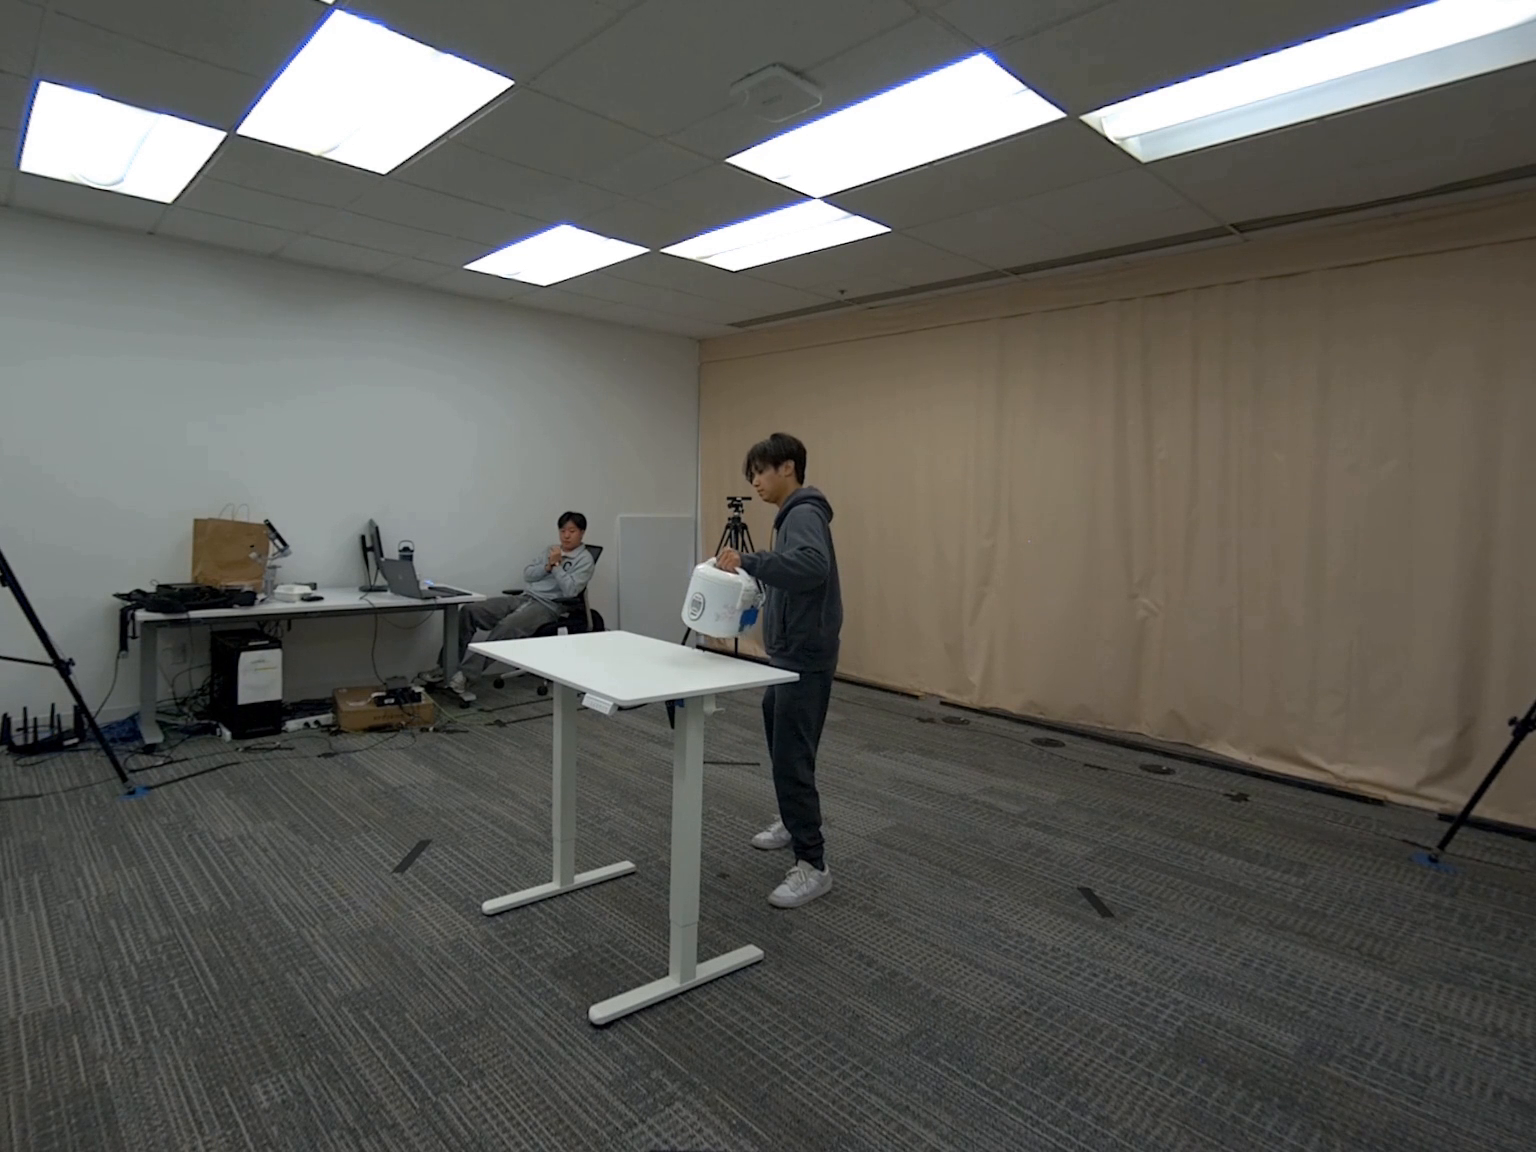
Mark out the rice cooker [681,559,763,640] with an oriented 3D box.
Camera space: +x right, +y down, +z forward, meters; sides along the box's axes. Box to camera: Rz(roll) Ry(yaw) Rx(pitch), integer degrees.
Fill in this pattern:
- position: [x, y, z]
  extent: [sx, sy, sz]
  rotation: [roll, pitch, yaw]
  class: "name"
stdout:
- position: [-0.158, 0.067, 2.681]
  extent: [0.227, 0.232, 0.212]
  rotation: [20, 7, 36]
  class: "rice cooker"
